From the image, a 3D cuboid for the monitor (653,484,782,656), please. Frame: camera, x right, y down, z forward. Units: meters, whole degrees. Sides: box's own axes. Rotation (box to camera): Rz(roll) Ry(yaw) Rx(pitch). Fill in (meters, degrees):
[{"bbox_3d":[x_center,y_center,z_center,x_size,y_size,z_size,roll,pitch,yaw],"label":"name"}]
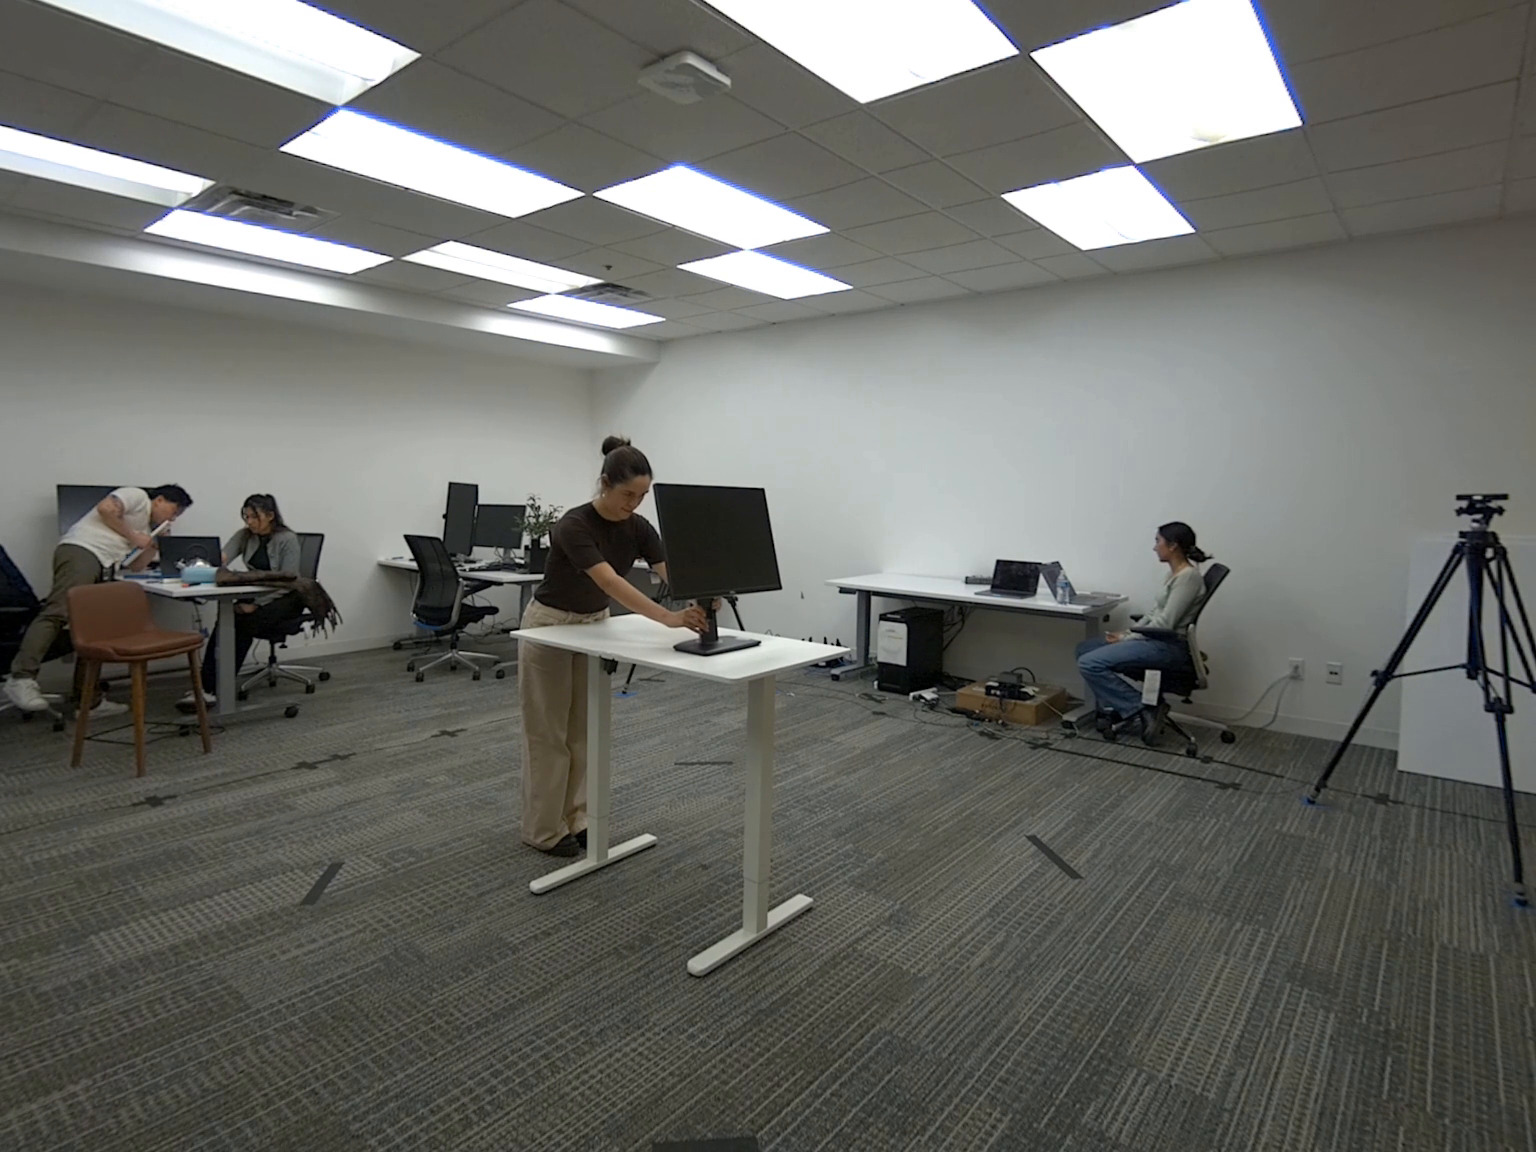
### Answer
[{"bbox_3d":[-0.175,-0.030,2.703,0.180,0.514,0.514,7,5,37],"label":"monitor"}]
